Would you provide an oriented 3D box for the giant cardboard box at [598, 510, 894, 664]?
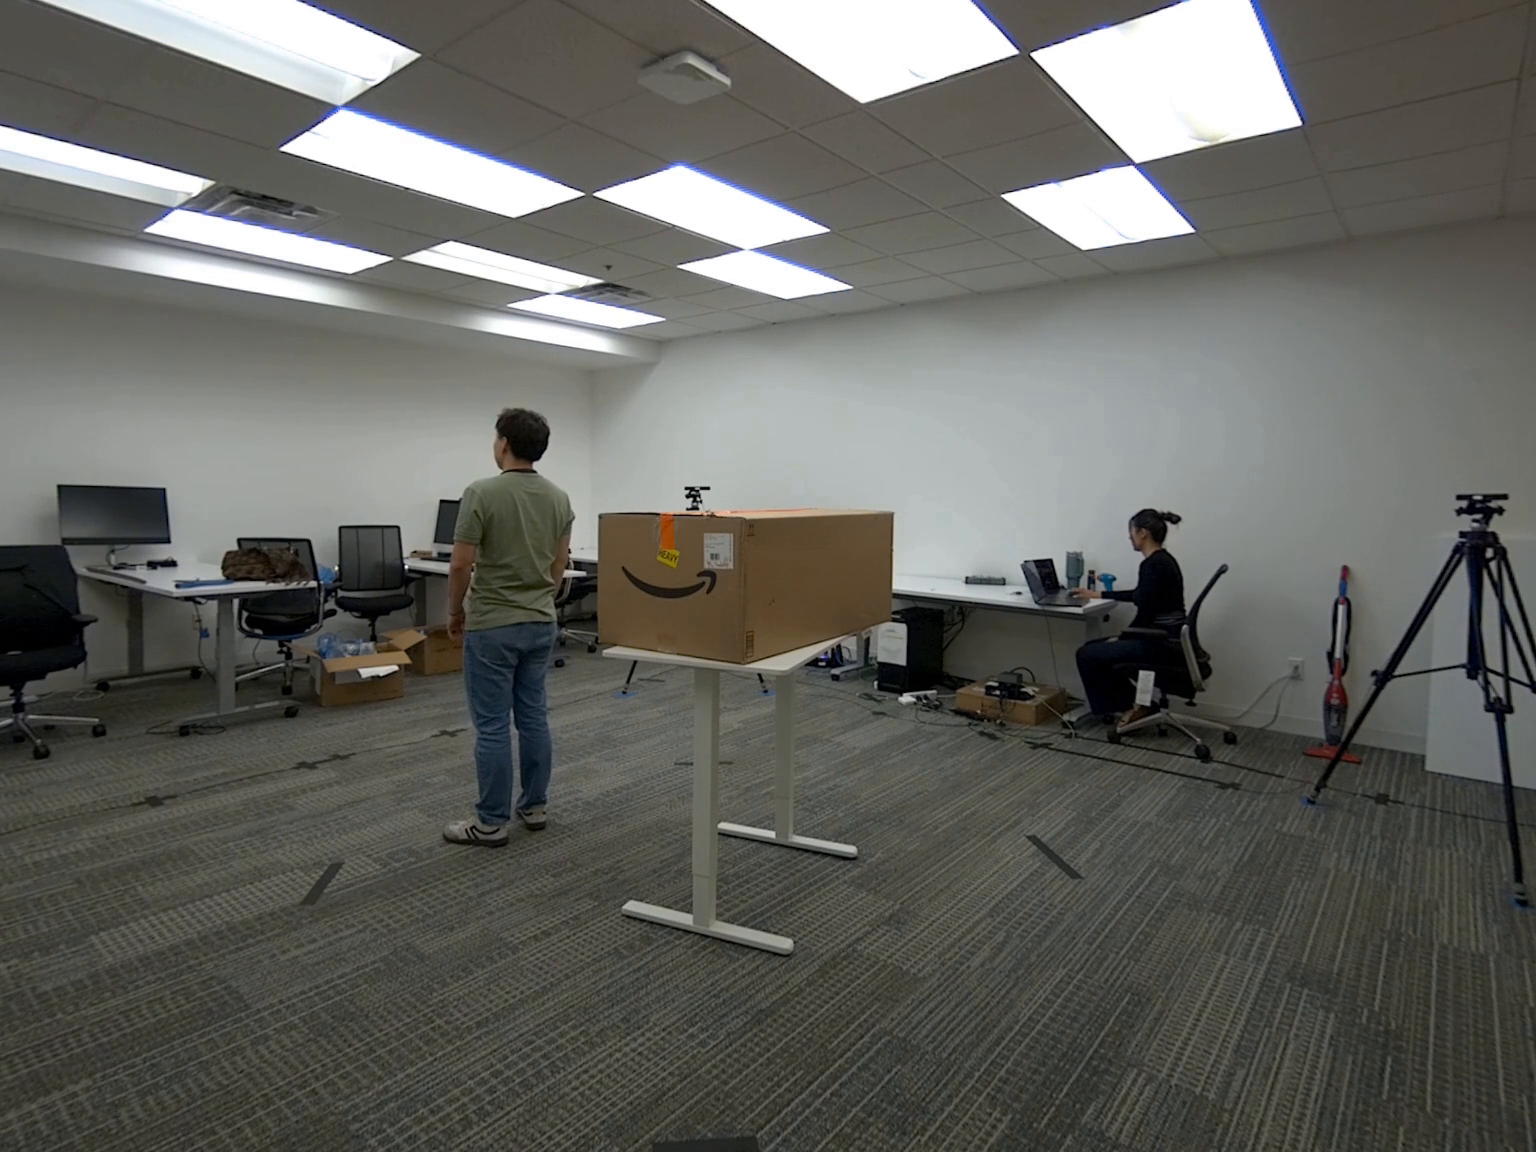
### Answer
[{"bbox_3d":[-0.044,-0.014,2.995,0.595,0.424,0.998,3,6,33],"label":"giant cardboard box"}]
